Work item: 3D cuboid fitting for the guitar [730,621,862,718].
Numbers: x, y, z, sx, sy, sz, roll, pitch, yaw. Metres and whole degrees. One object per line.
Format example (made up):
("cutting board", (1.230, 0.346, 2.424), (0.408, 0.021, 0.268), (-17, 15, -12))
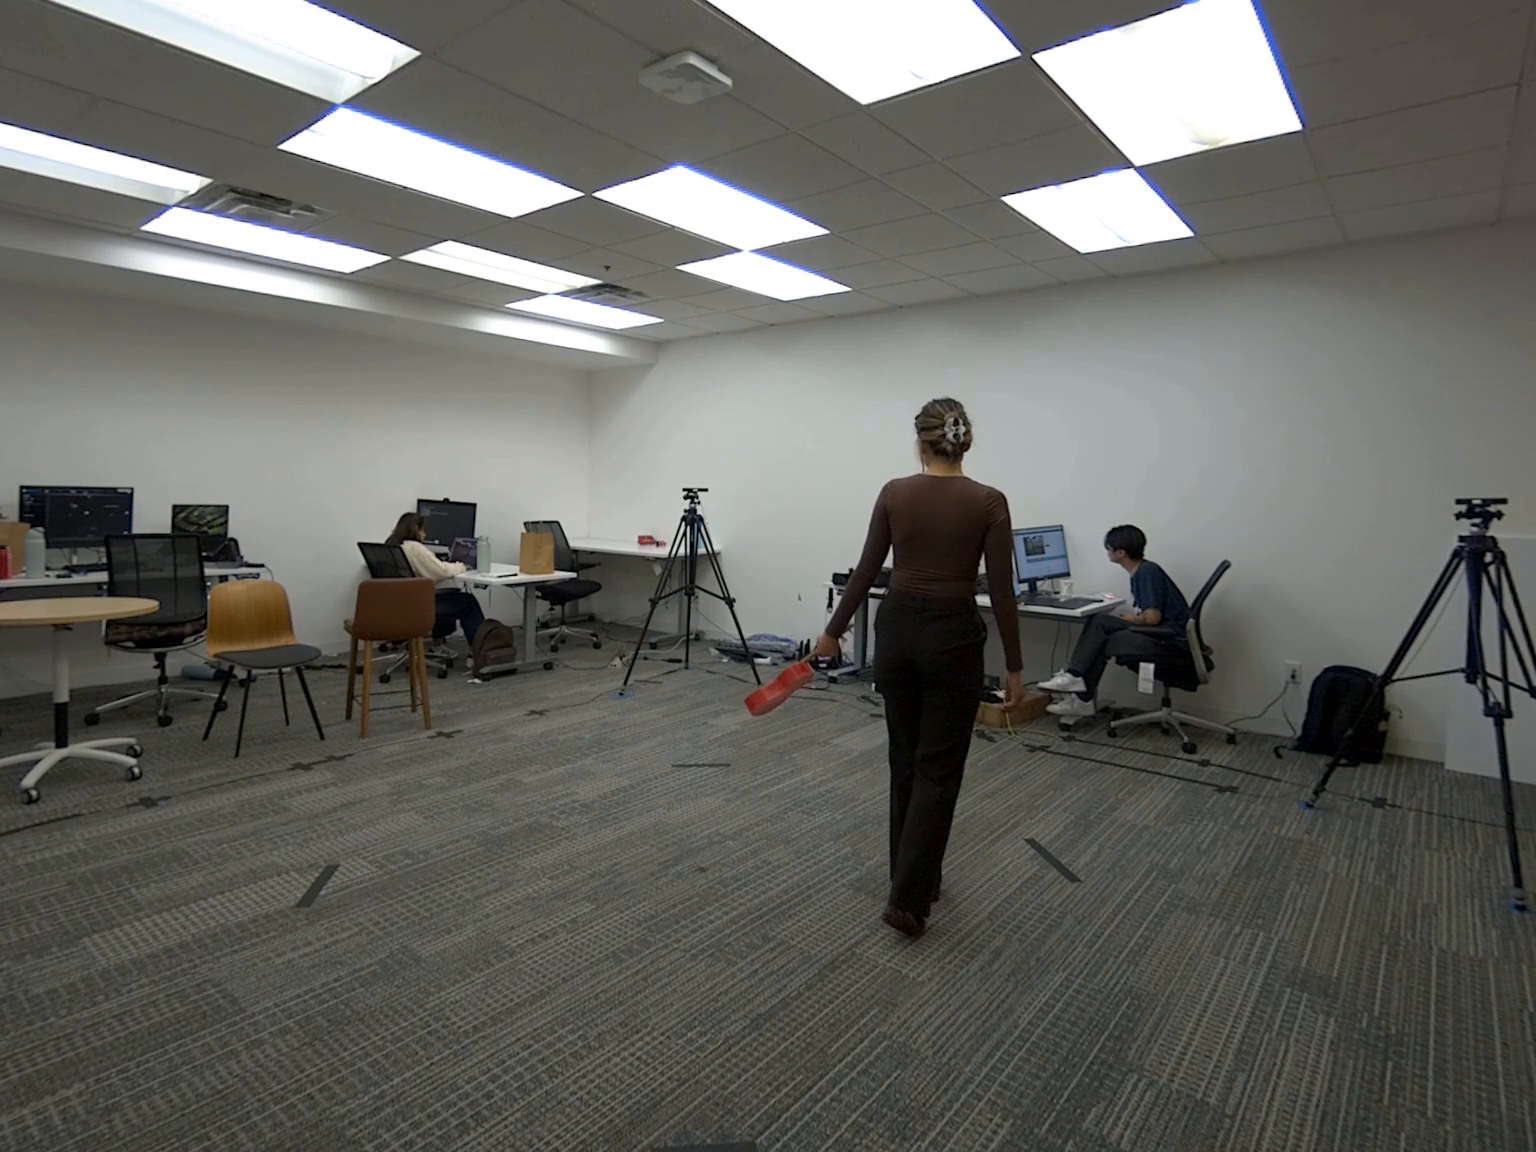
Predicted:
("guitar", (0.099, 0.339, 3.075), (0.499, 0.073, 0.187), (-42, -22, 23))
